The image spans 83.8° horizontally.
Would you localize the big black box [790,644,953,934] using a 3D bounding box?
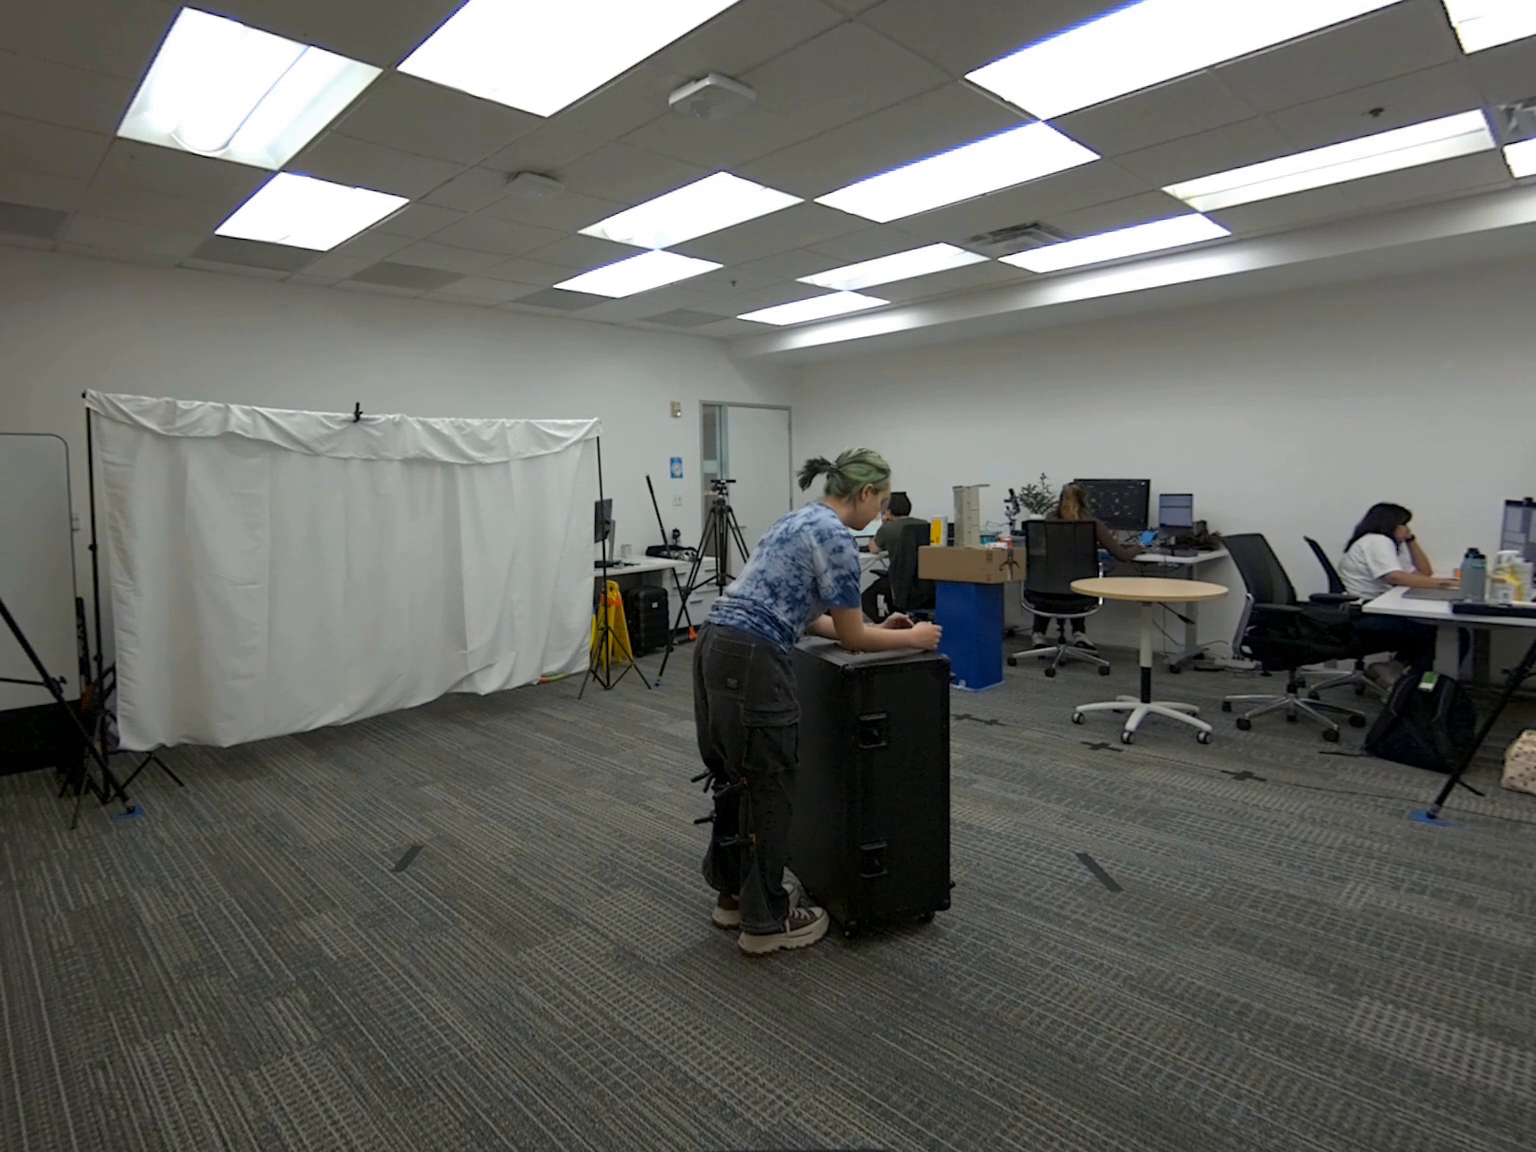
[{"bbox_3d":[0.316,0.591,2.760,0.389,0.859,0.532,-3,3,-21],"label":"big black box"}]
